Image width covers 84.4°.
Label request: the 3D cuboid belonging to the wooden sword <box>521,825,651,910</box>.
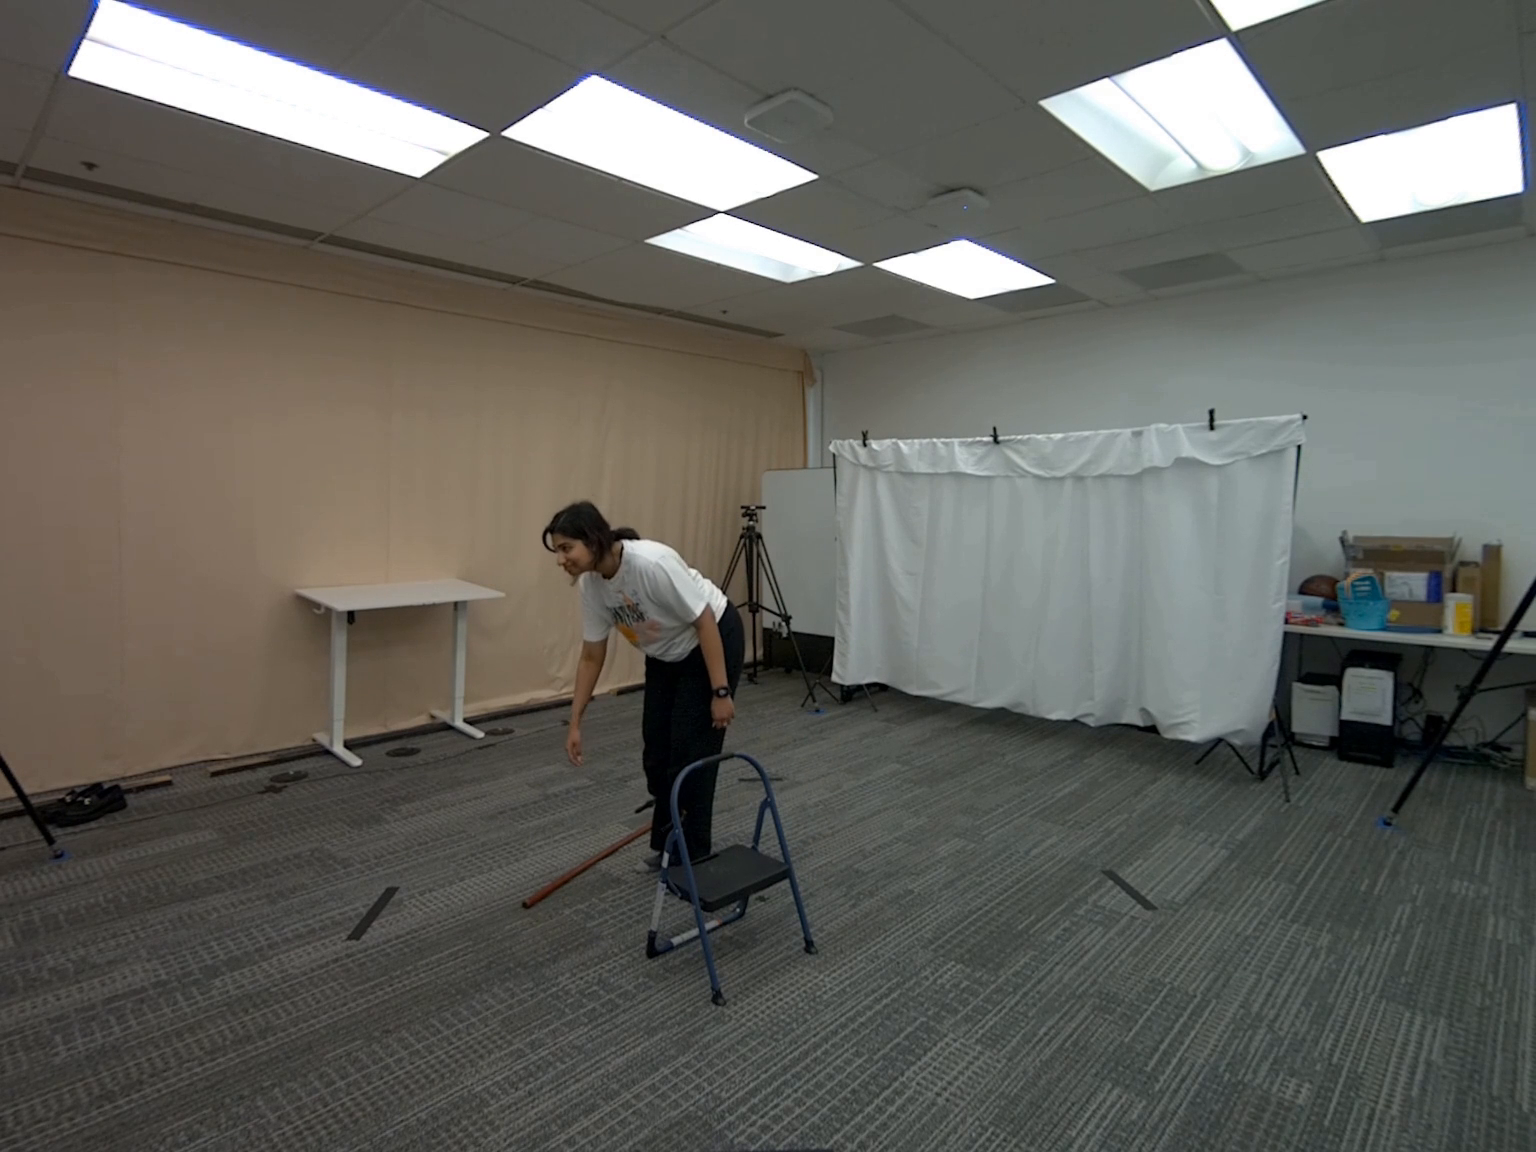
[{"bbox_3d":[-0.626,1.092,3.362,0.053,0.024,0.999,18,13,25],"label":"wooden sword"}]
